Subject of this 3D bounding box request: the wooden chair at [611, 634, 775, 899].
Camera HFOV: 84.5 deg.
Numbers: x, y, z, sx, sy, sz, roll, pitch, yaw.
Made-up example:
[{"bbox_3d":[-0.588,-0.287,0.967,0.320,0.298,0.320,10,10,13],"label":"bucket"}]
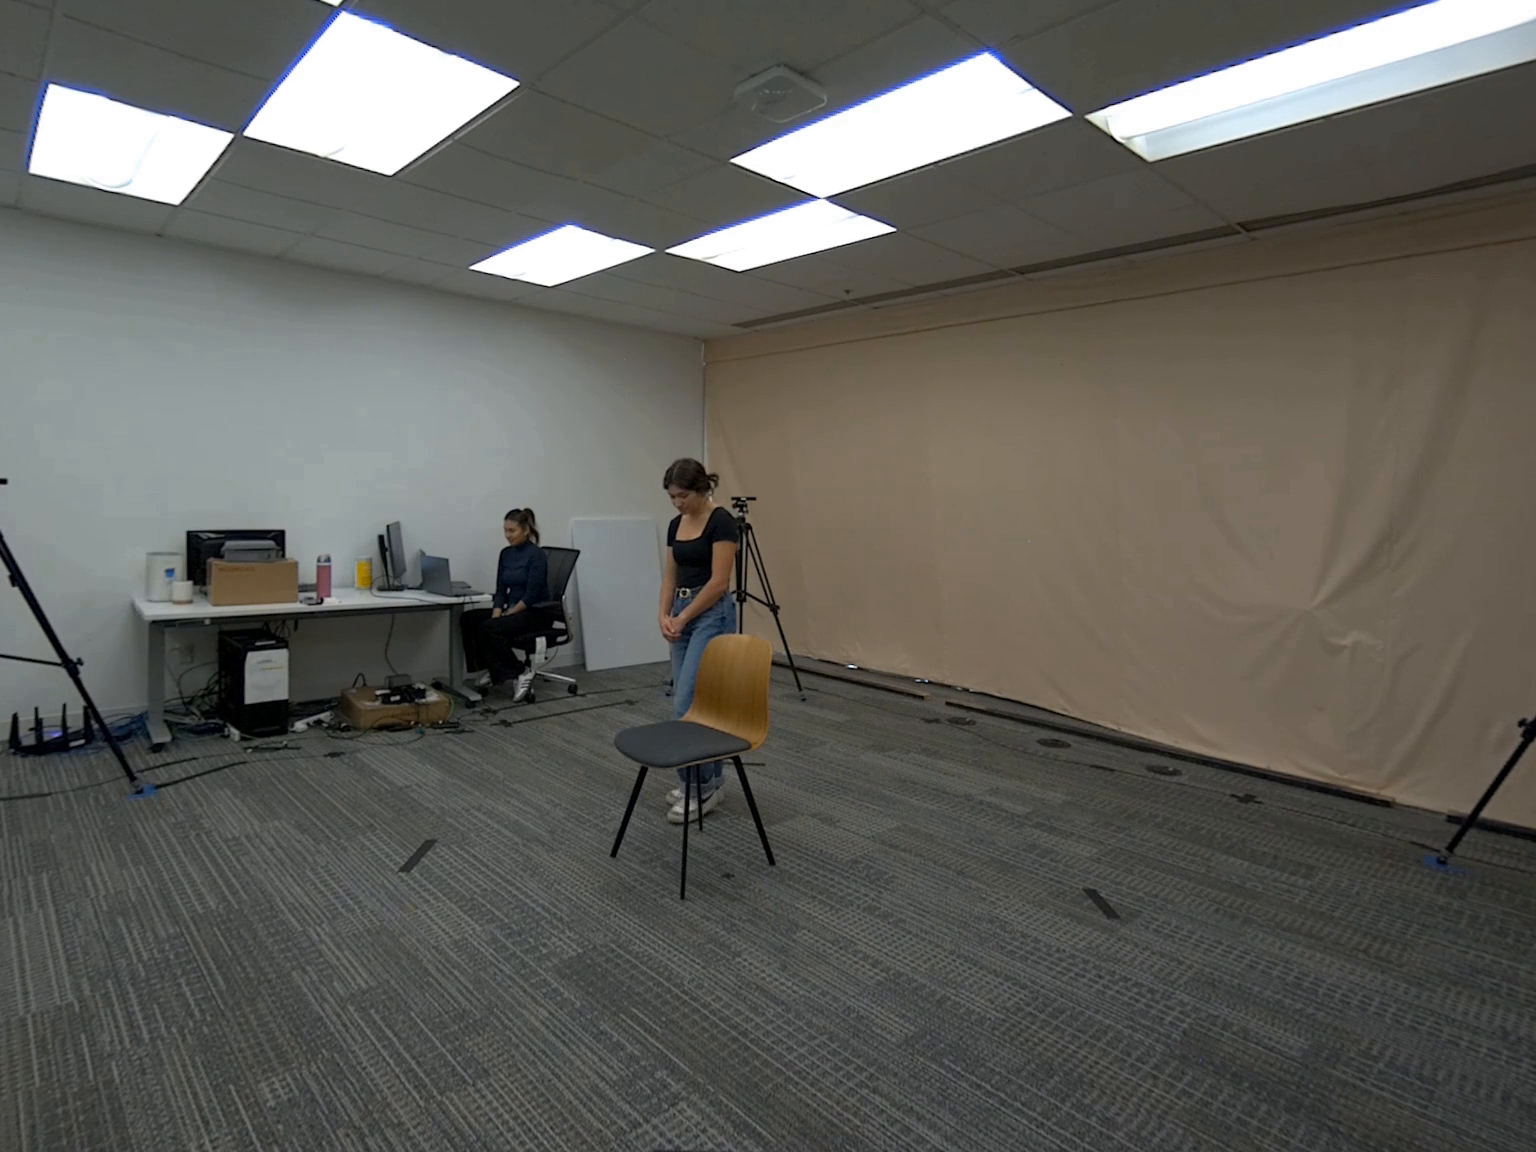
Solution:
[{"bbox_3d":[-0.288,0.673,3.183,0.510,0.877,0.490,4,1,-43],"label":"wooden chair"}]
